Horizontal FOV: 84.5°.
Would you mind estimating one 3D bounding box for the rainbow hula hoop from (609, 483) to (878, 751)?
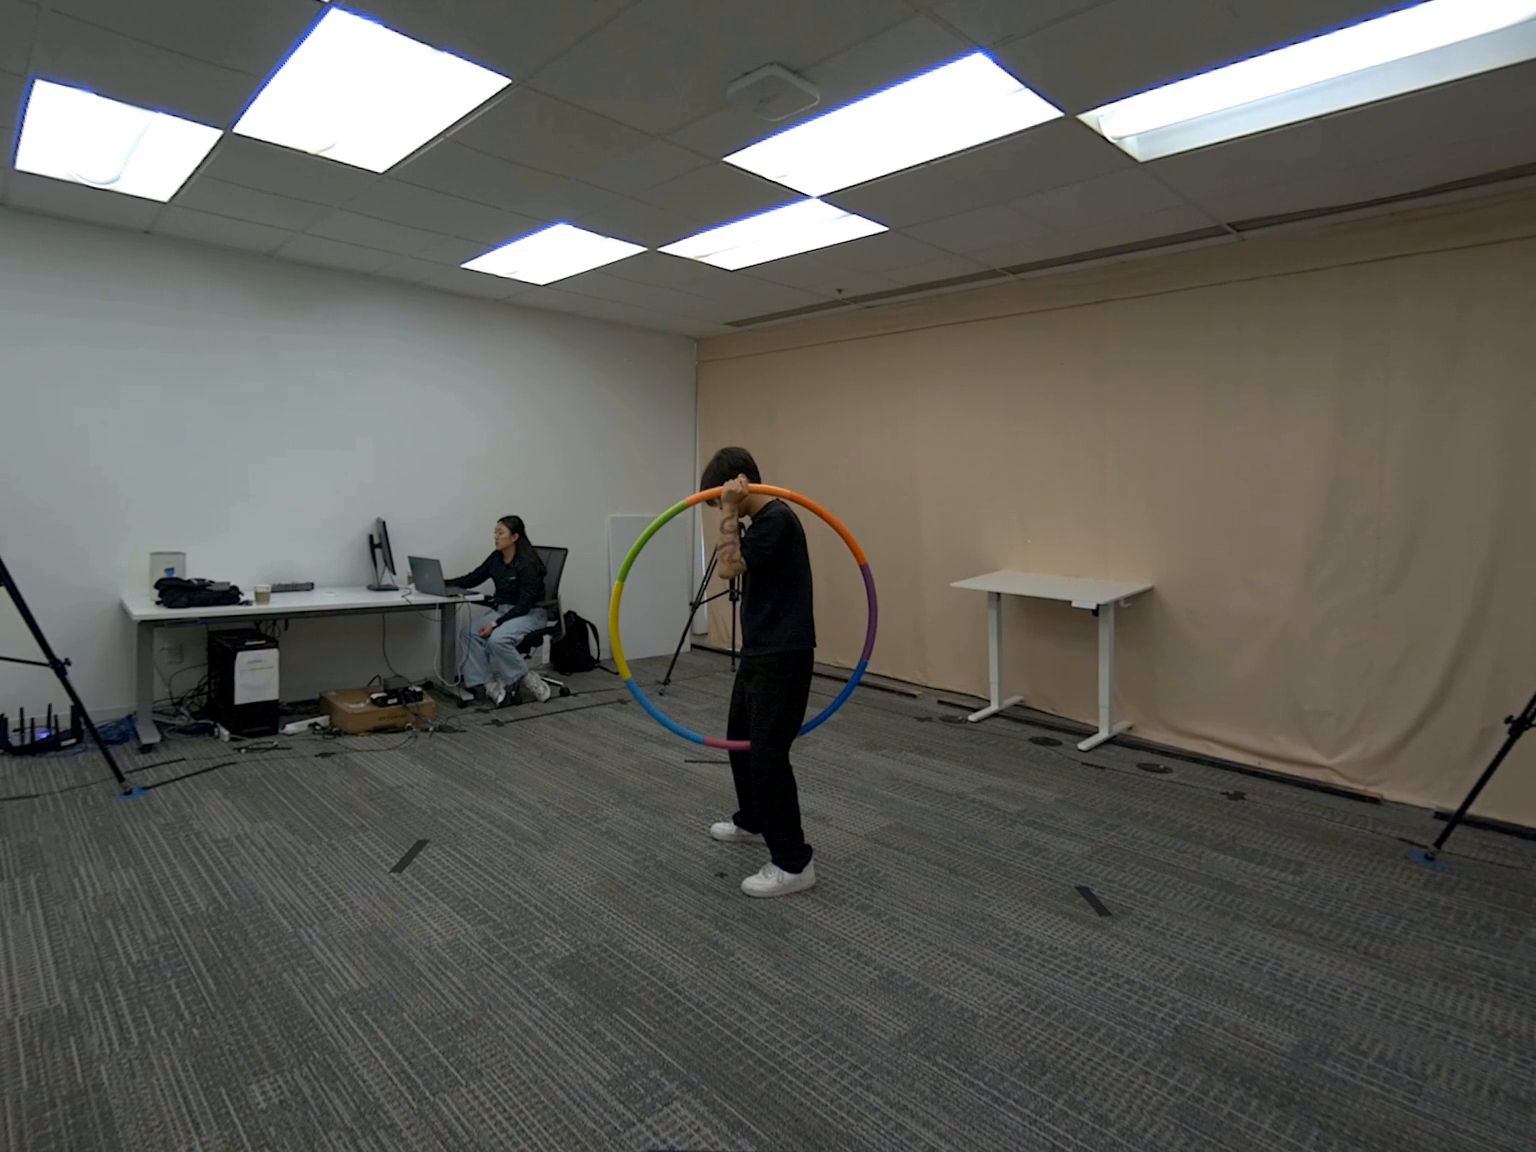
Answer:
[{"bbox_3d":[-0.088,0.152,3.058,0.977,0.971,0.036,1,10,-2],"label":"rainbow hula hoop"}]
